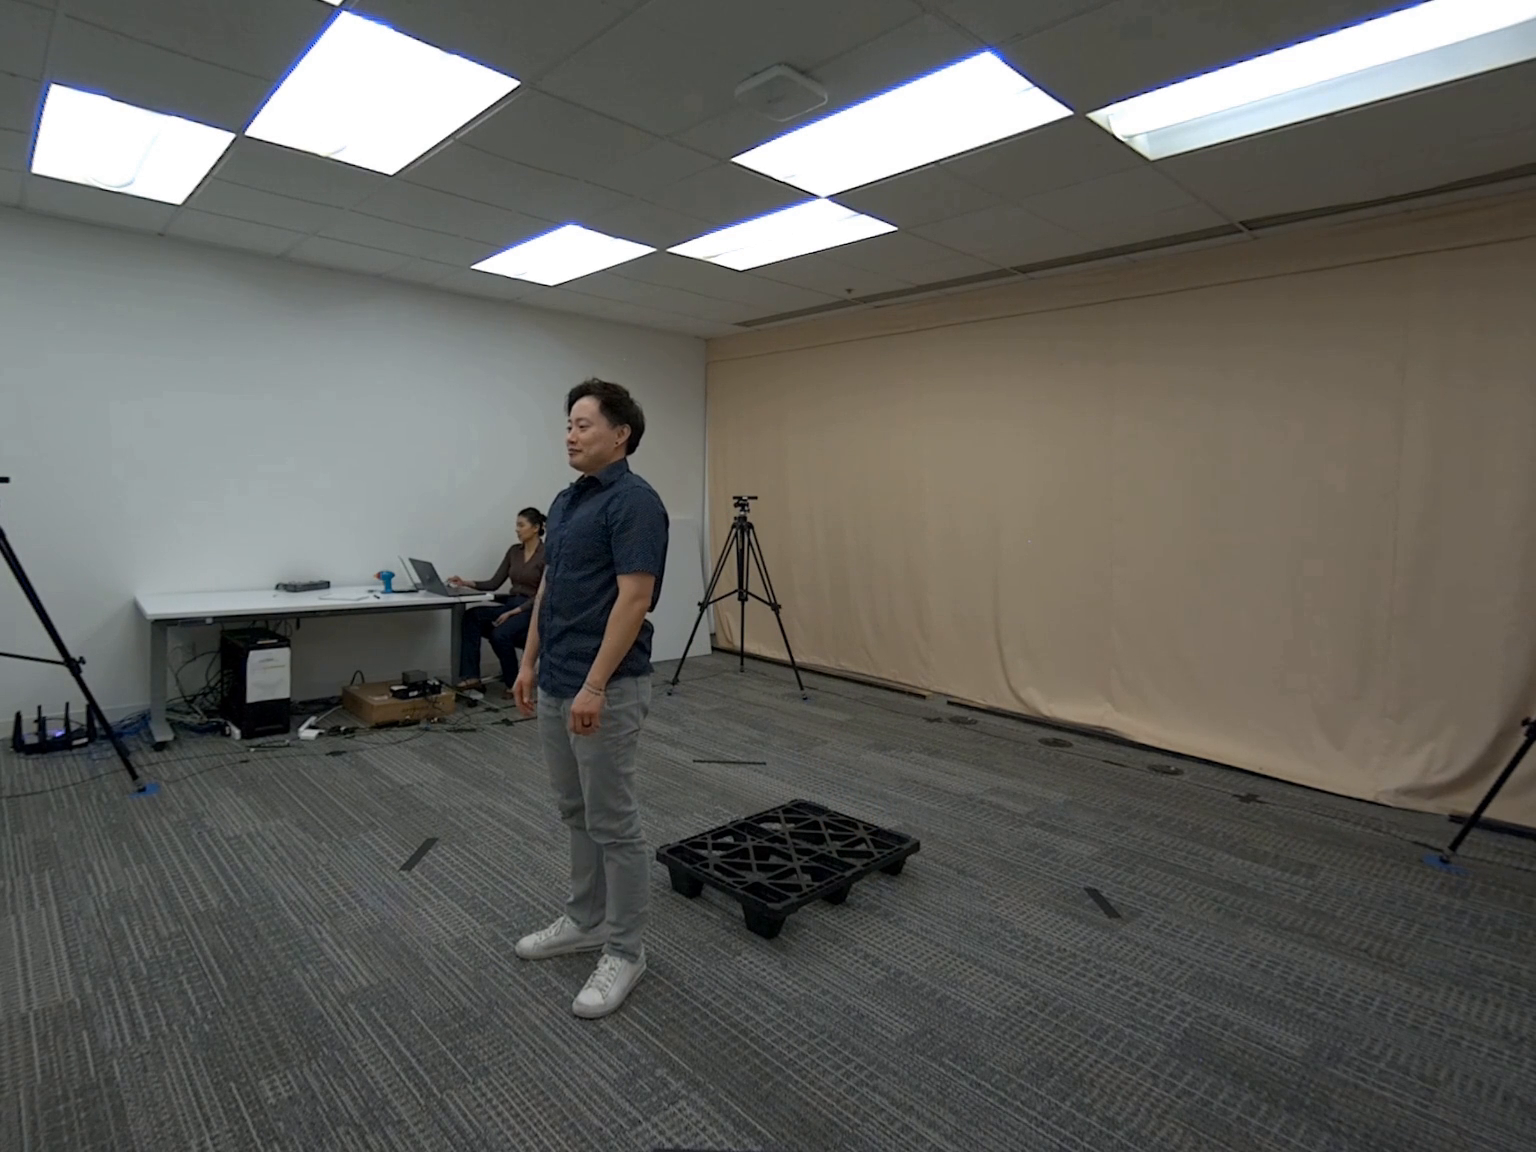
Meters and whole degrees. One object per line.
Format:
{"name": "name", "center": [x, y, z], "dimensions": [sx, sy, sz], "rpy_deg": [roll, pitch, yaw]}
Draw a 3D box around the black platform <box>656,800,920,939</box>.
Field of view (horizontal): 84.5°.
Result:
{"name": "black platform", "center": [0.081, 1.045, 3.064], "dimensions": [0.621, 0.143, 0.787], "rpy_deg": [7, 8, 44]}
